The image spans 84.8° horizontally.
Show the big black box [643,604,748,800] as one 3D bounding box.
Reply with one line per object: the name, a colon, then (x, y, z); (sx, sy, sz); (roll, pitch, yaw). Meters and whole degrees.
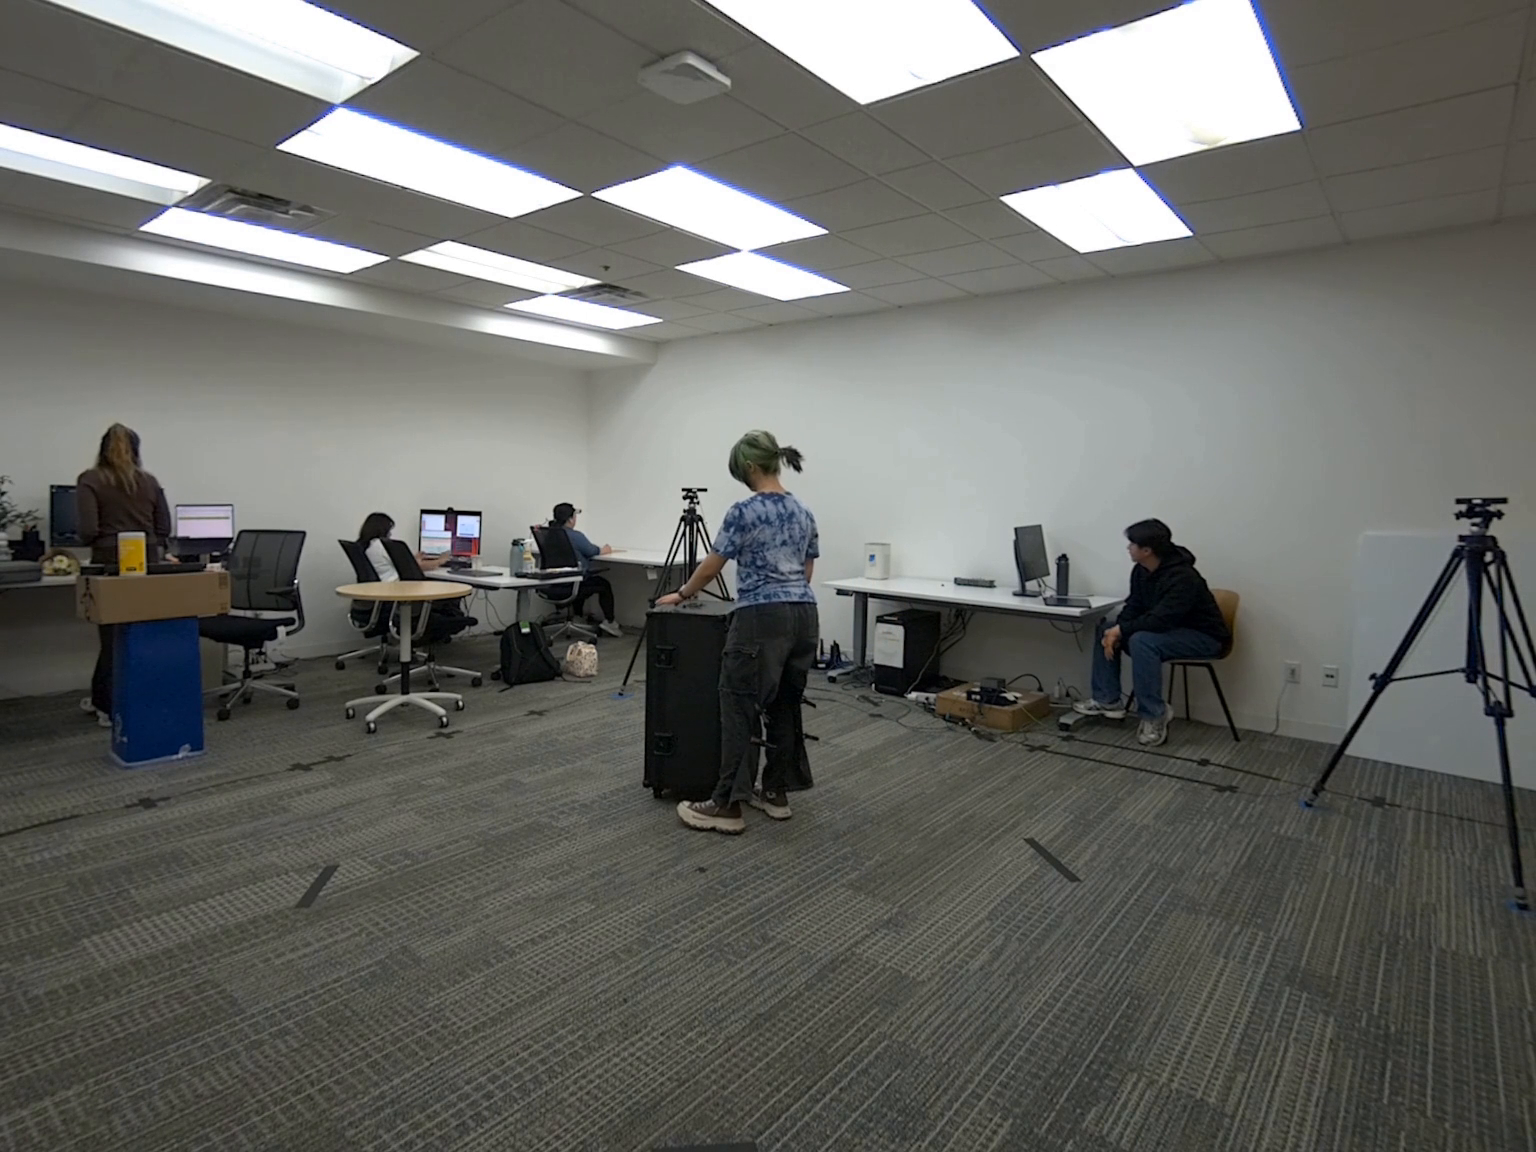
big black box: (-0.324, 0.563, 3.941); (0.403, 0.860, 0.514); (2, 2, 14)
